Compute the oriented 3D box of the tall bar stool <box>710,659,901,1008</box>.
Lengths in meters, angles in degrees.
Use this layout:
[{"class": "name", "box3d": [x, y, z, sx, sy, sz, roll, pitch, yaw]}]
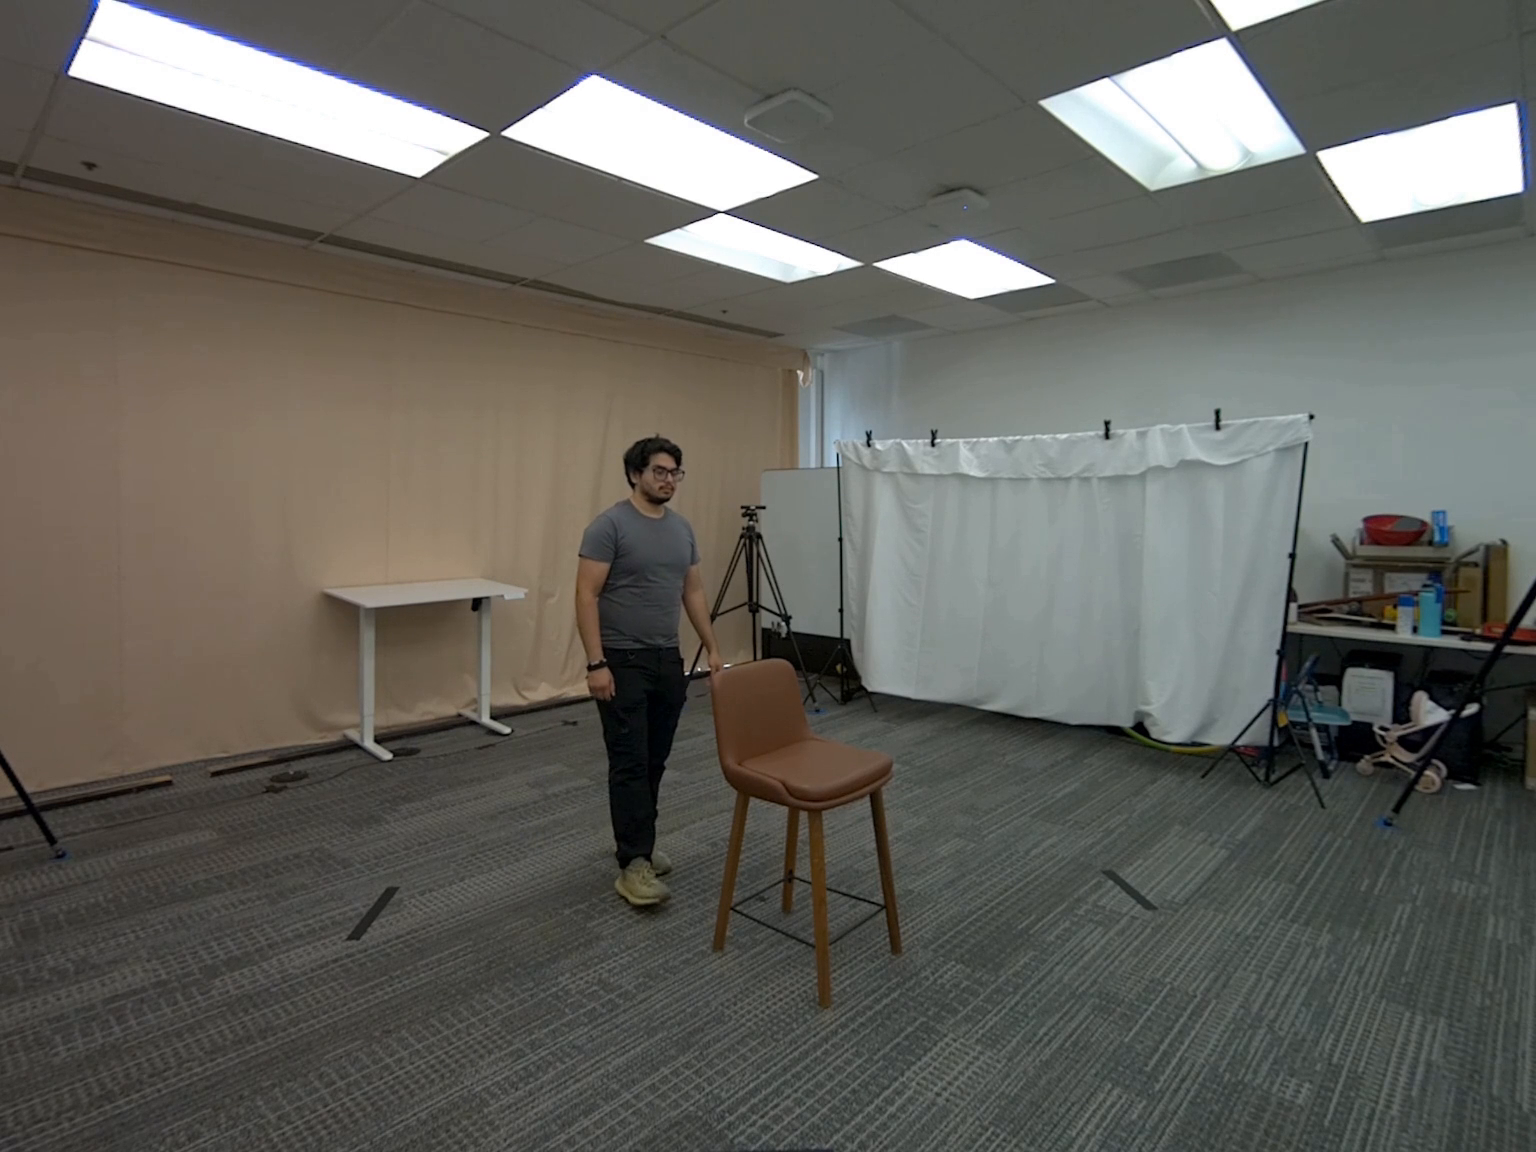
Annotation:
[{"class": "tall bar stool", "box3d": [0.116, 0.741, 2.607, 0.483, 0.888, 0.442, 0, 3, 42]}]
